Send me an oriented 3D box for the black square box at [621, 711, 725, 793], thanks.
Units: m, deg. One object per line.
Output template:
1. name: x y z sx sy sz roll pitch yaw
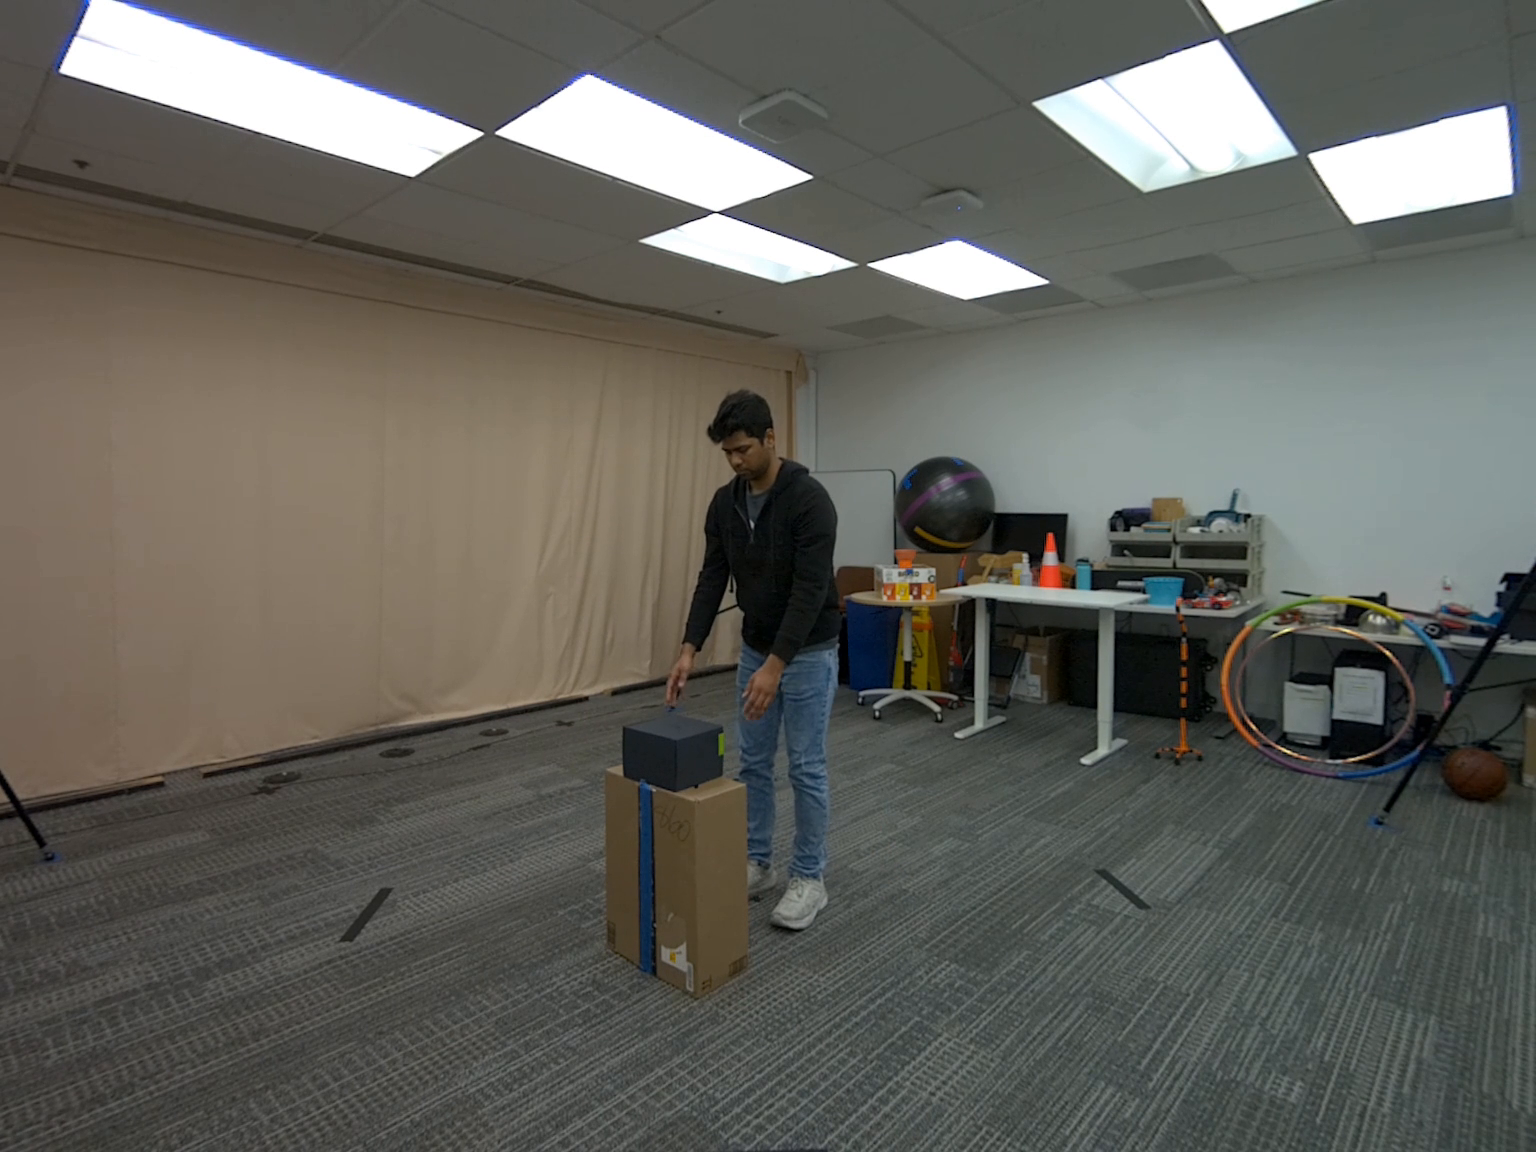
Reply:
1. black square box: -0.284 0.534 2.572 0.235 0.155 0.210 3 4 39
